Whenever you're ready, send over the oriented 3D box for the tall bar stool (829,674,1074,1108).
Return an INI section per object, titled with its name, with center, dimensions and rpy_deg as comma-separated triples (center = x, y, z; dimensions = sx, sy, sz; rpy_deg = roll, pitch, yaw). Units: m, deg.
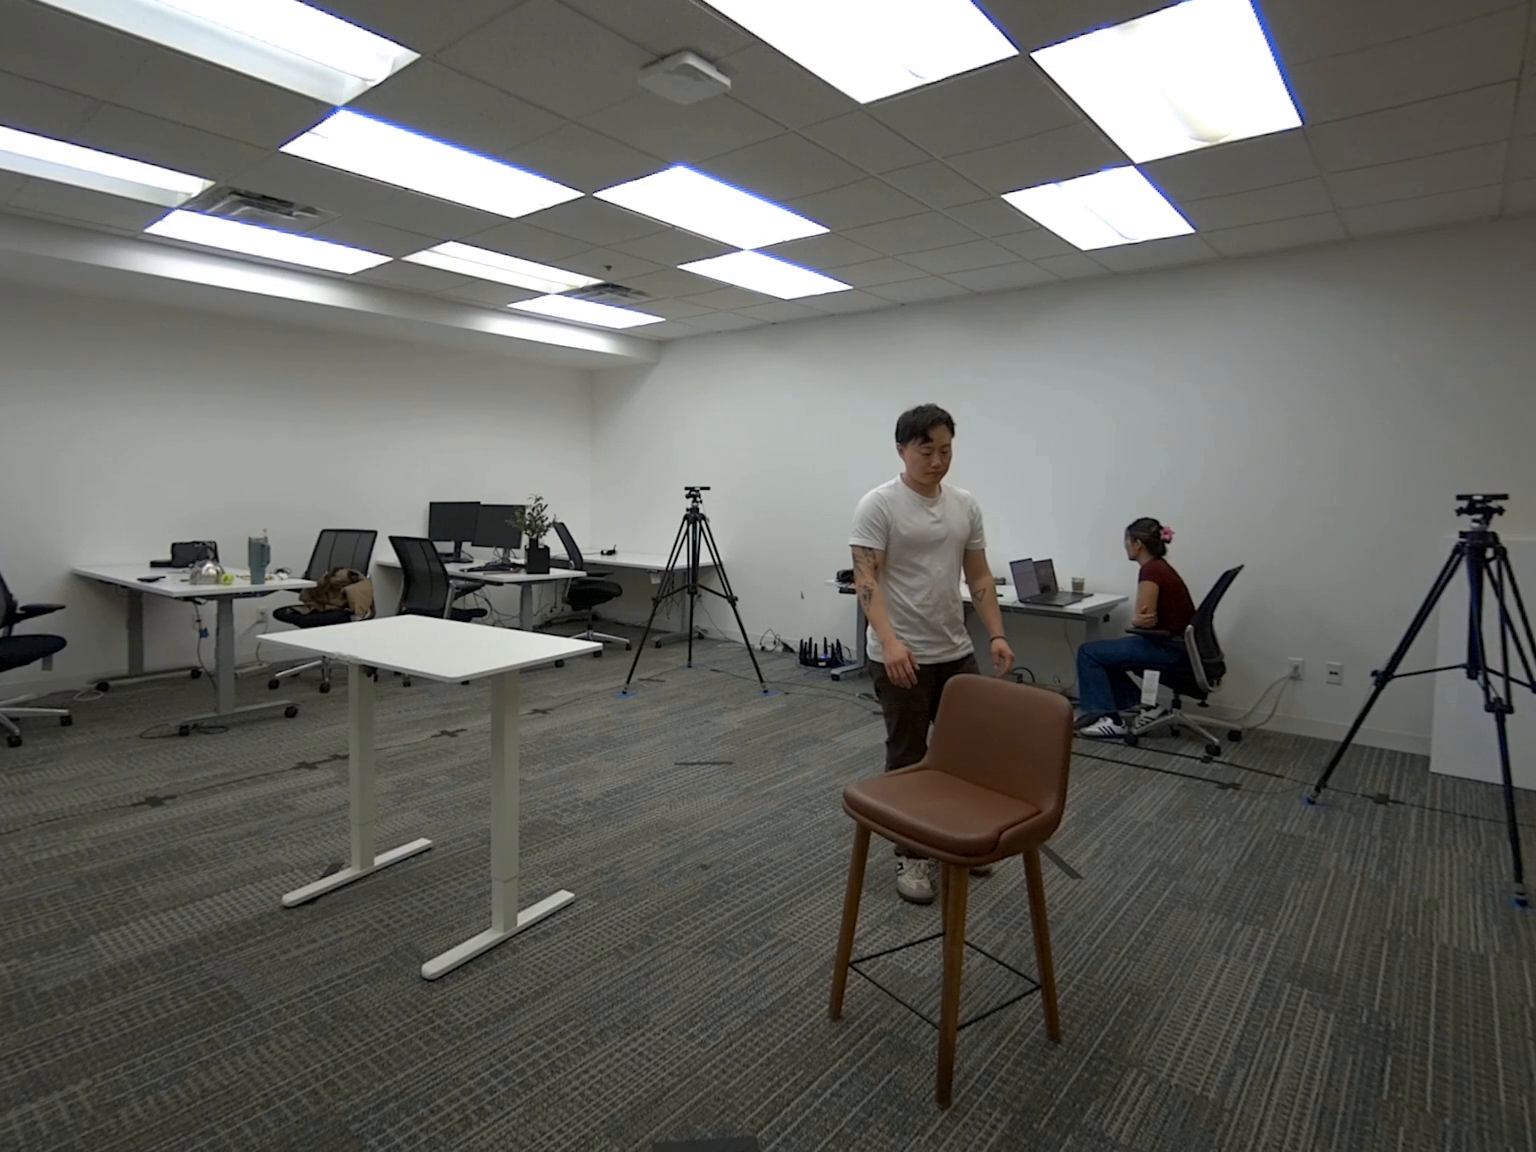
[tall bar stool]
center = 0.467, 0.733, 2.186
dimensions = 0.454, 0.888, 0.471
rpy_deg = 2, 2, -35
